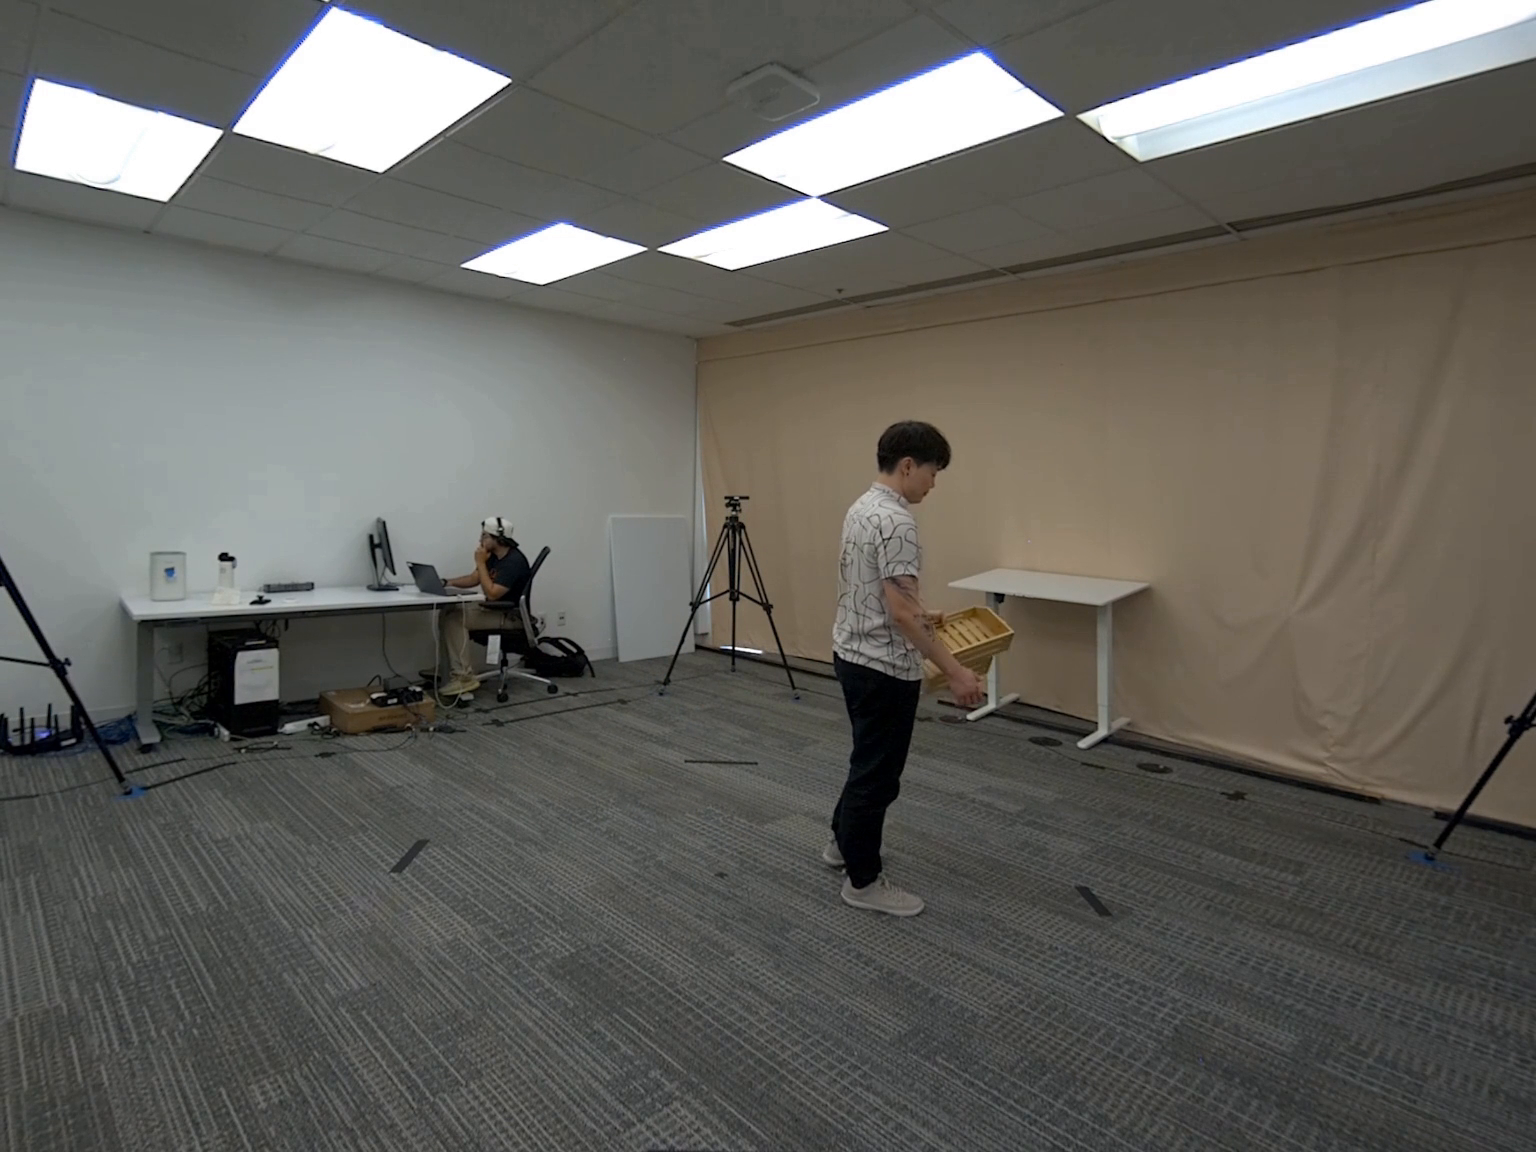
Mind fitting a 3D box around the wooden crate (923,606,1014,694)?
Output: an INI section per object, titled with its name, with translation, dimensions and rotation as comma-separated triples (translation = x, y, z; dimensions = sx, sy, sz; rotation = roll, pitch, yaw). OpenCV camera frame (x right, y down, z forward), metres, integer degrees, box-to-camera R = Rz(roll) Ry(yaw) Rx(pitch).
[wooden crate]
translation = 0.671, 0.249, 3.168
dimensions = 0.320, 0.268, 0.312
rotation = -14, 42, -24
